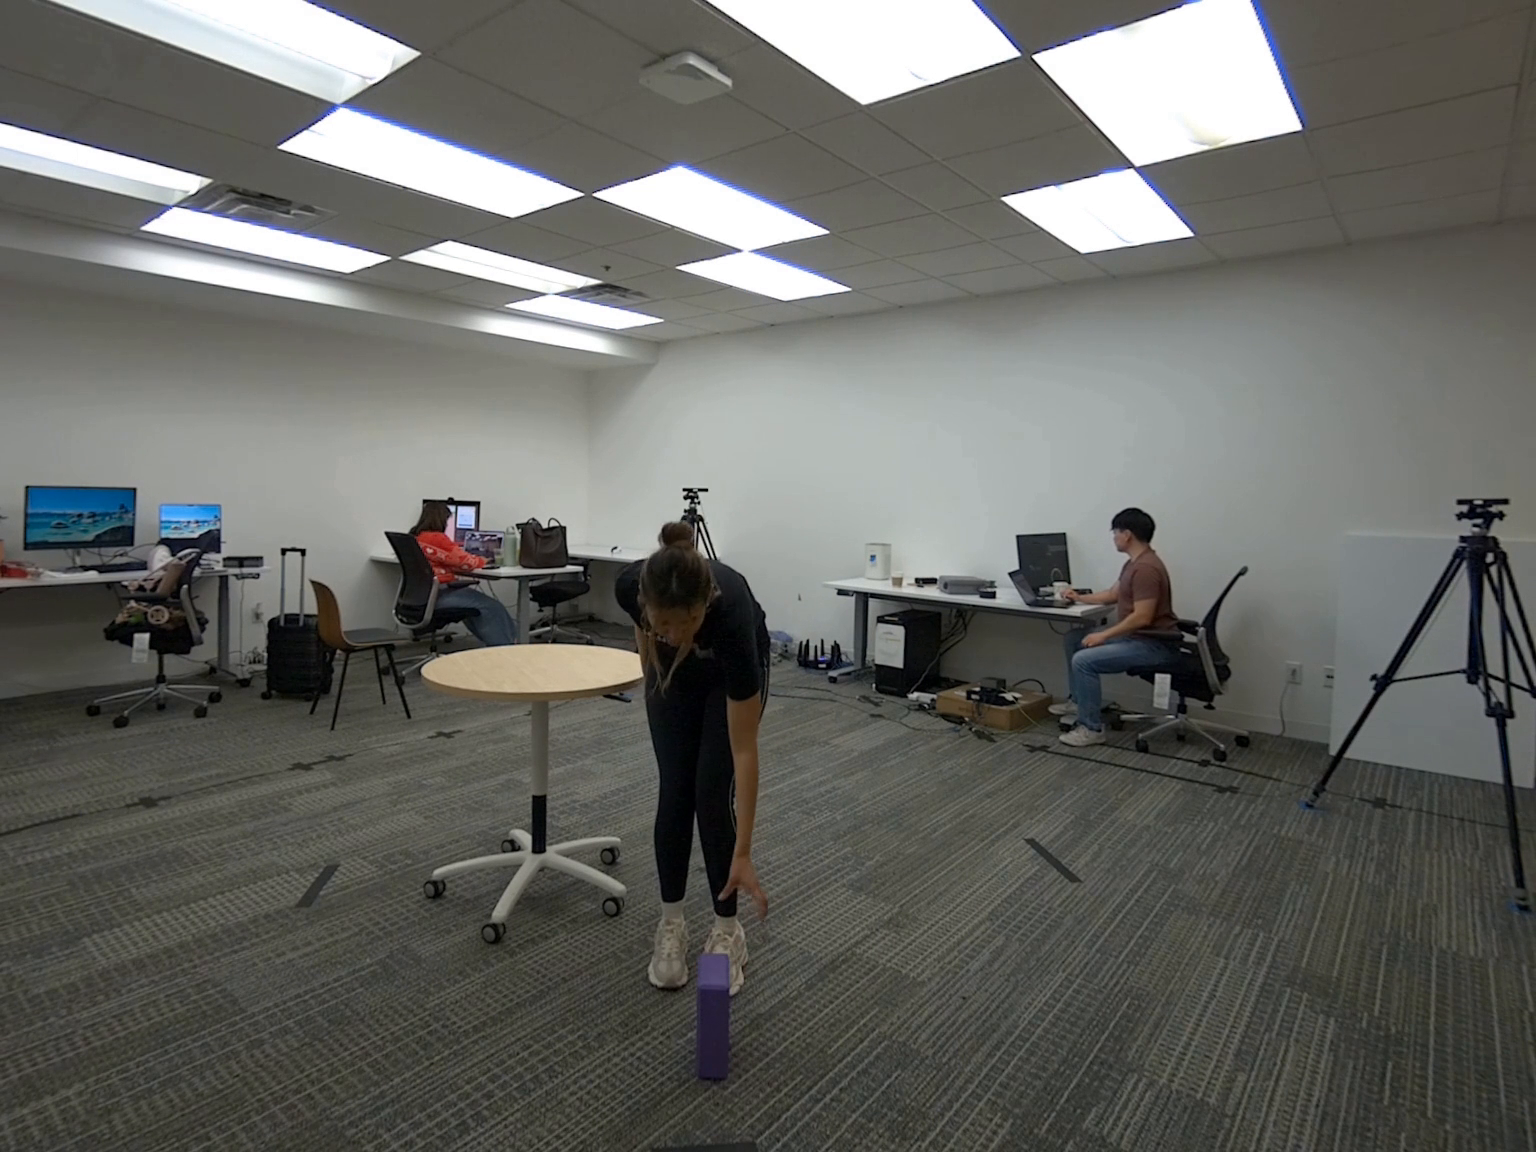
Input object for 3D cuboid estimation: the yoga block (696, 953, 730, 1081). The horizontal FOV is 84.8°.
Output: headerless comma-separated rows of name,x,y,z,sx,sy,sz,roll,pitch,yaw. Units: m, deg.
yoga block,-0.135,1.061,2.064,0.076,0.228,0.150,3,5,-3
